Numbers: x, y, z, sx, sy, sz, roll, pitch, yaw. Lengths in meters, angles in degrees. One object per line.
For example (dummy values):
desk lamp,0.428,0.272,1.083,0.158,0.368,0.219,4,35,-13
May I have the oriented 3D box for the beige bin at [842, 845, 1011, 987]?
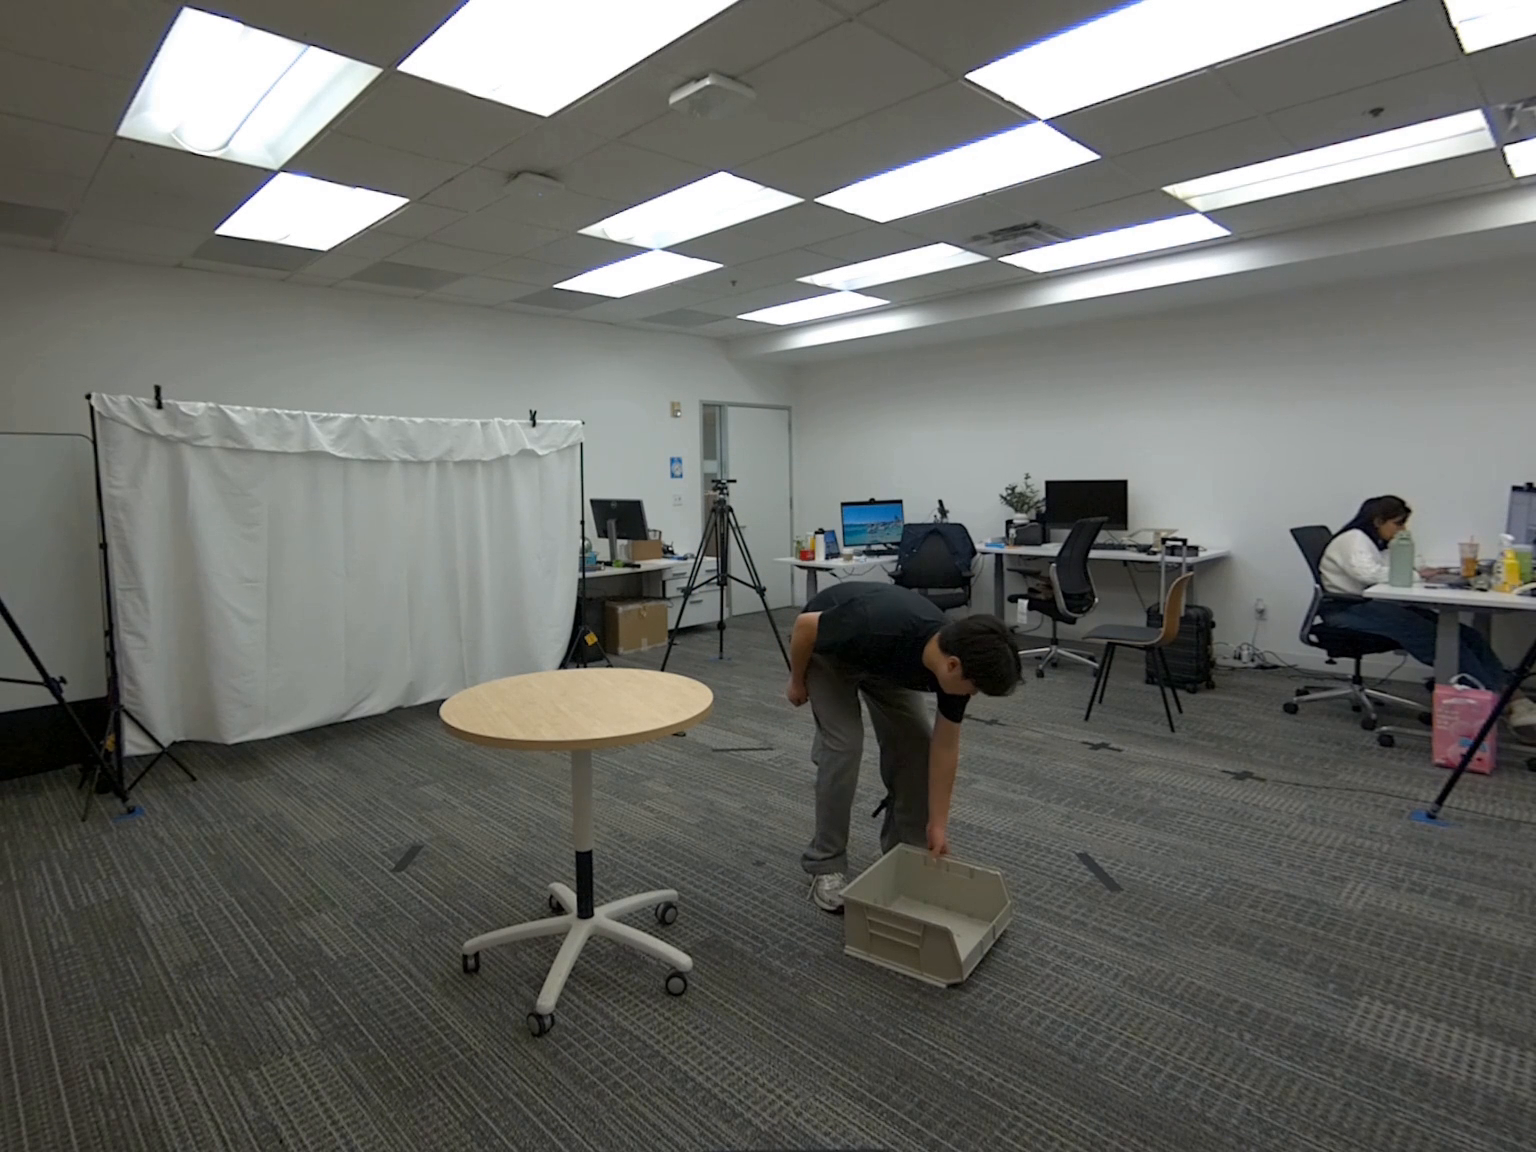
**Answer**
beige bin,0.480,1.003,2.573,0.388,0.188,0.412,2,6,36
